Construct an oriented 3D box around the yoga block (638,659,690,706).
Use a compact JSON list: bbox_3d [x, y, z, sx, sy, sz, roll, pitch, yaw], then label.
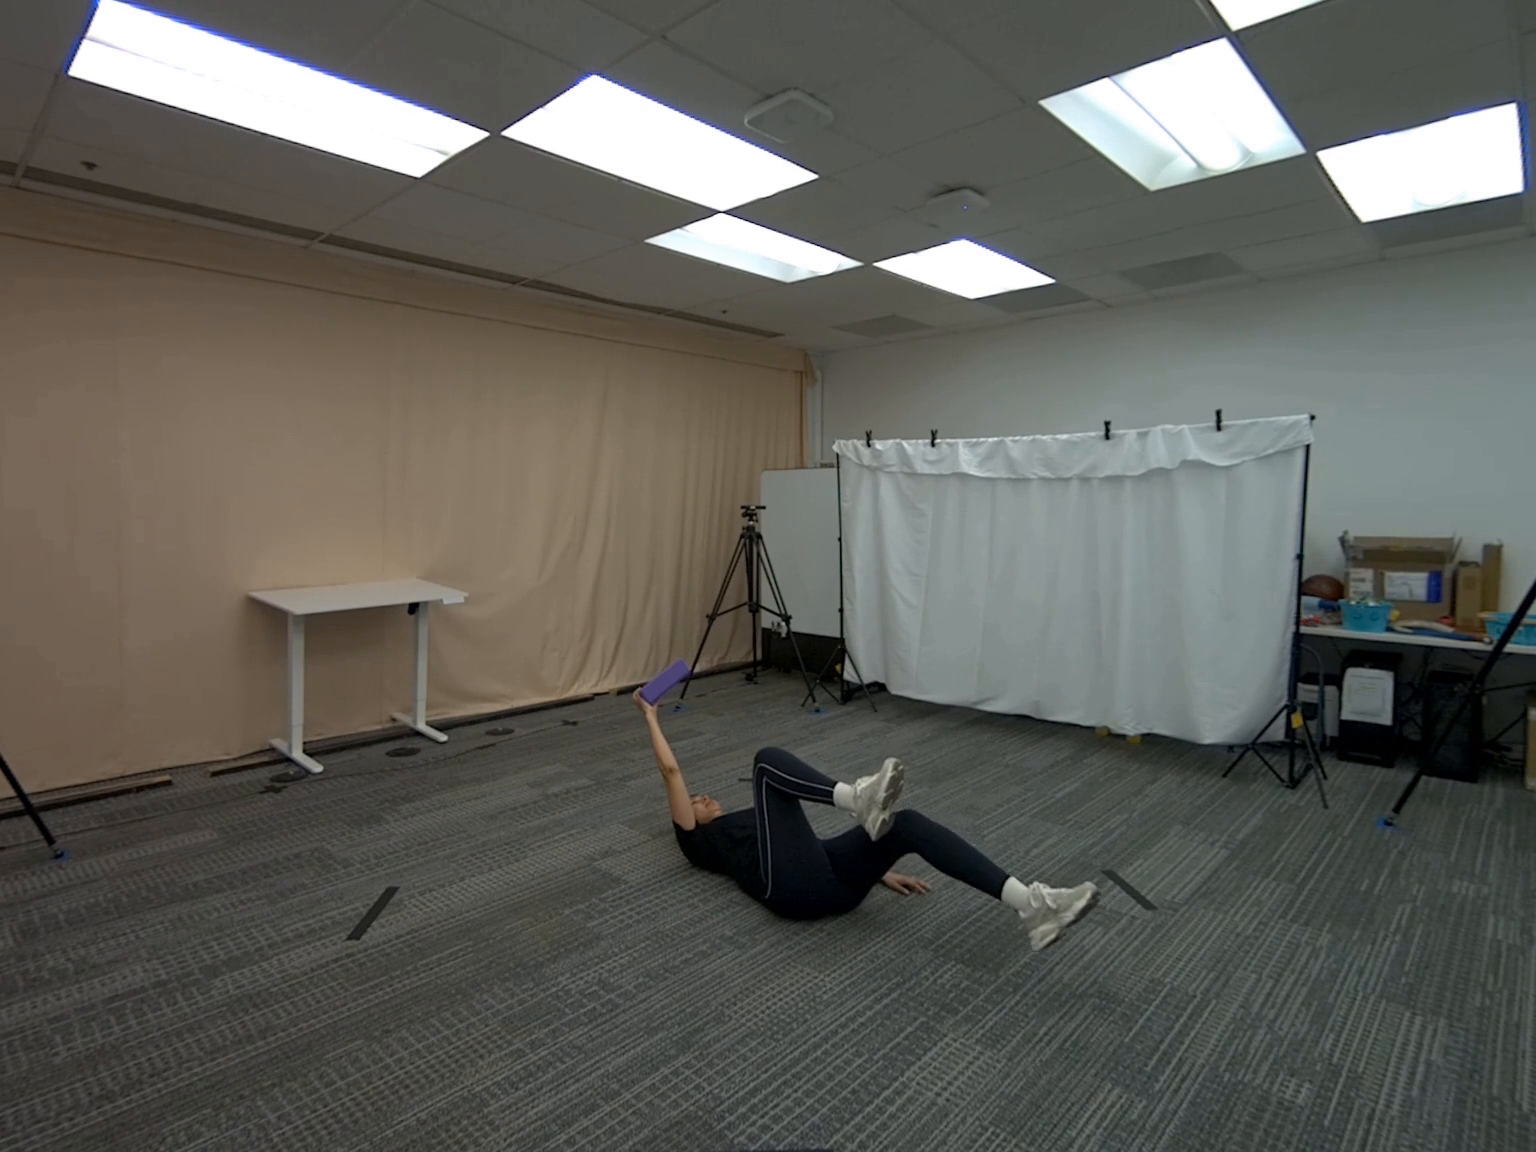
[{"bbox_3d":[-0.435,0.447,3.541,0.227,0.076,0.150,-40,0,-21],"label":"yoga block"}]
